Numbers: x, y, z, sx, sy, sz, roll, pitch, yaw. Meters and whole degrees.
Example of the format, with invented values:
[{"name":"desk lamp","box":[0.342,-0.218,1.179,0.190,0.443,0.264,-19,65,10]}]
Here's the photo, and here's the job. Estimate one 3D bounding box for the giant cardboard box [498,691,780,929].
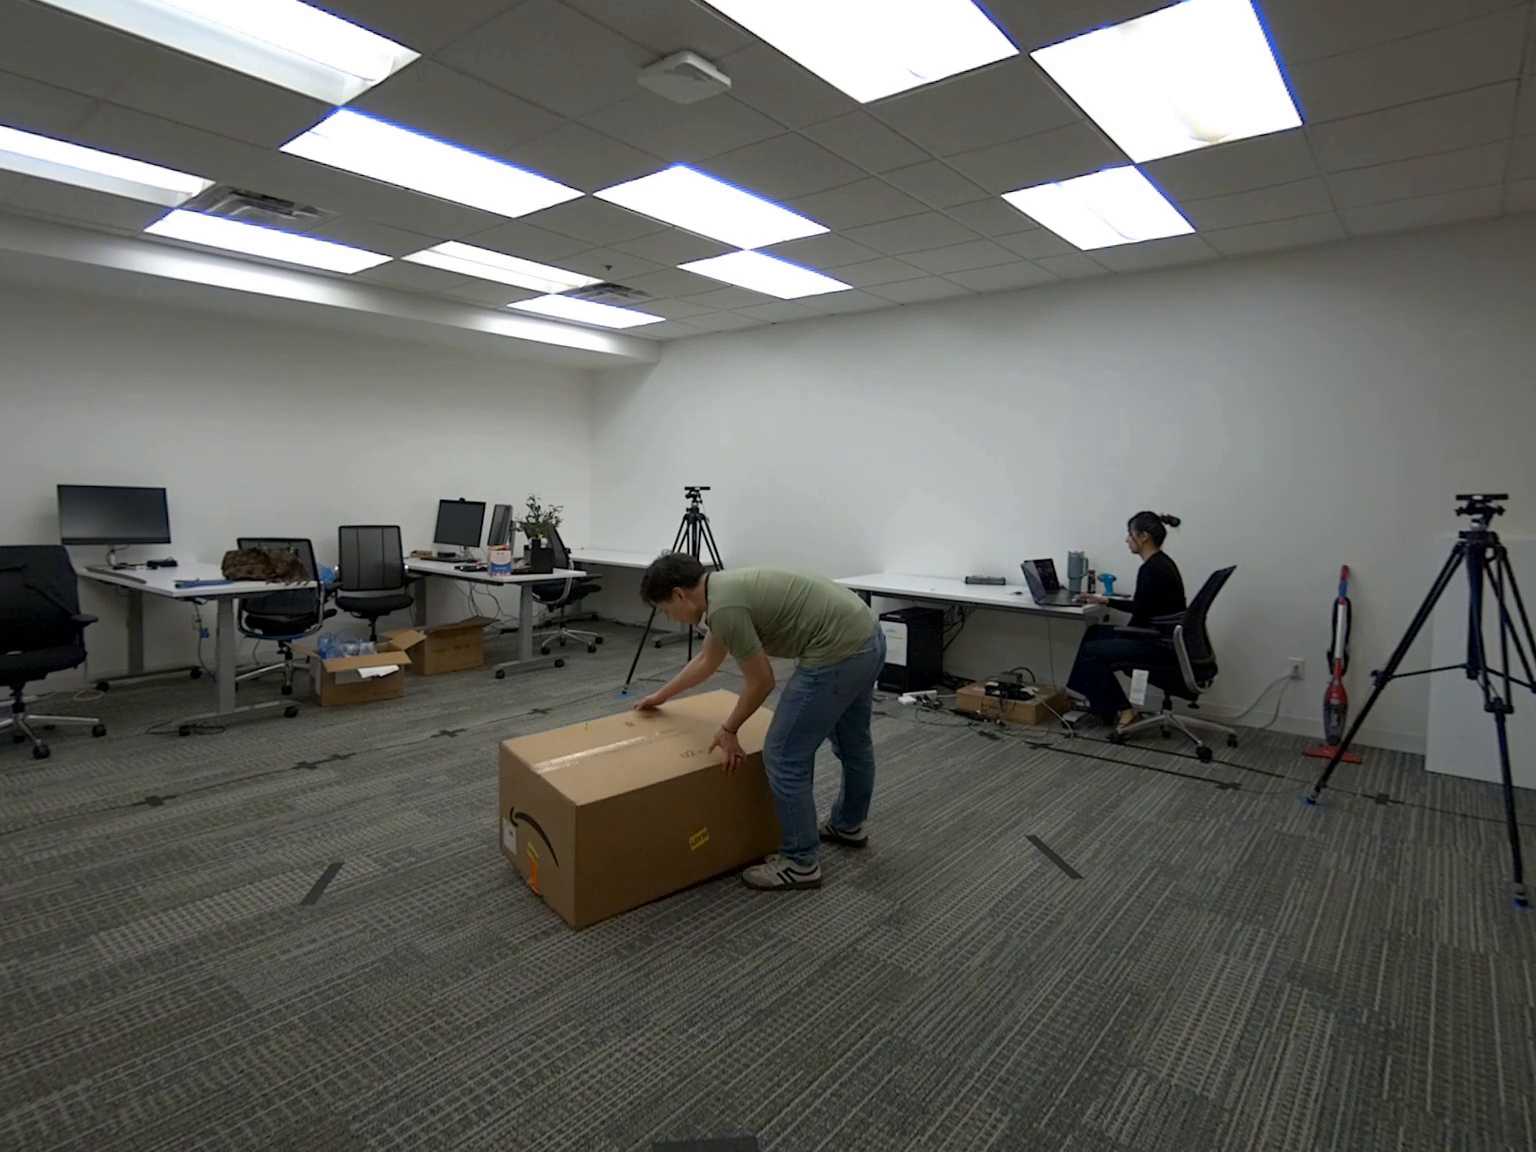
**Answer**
[{"name":"giant cardboard box","box":[-0.415,0.789,3.149,0.998,0.422,0.599,-8,15,-39]}]
